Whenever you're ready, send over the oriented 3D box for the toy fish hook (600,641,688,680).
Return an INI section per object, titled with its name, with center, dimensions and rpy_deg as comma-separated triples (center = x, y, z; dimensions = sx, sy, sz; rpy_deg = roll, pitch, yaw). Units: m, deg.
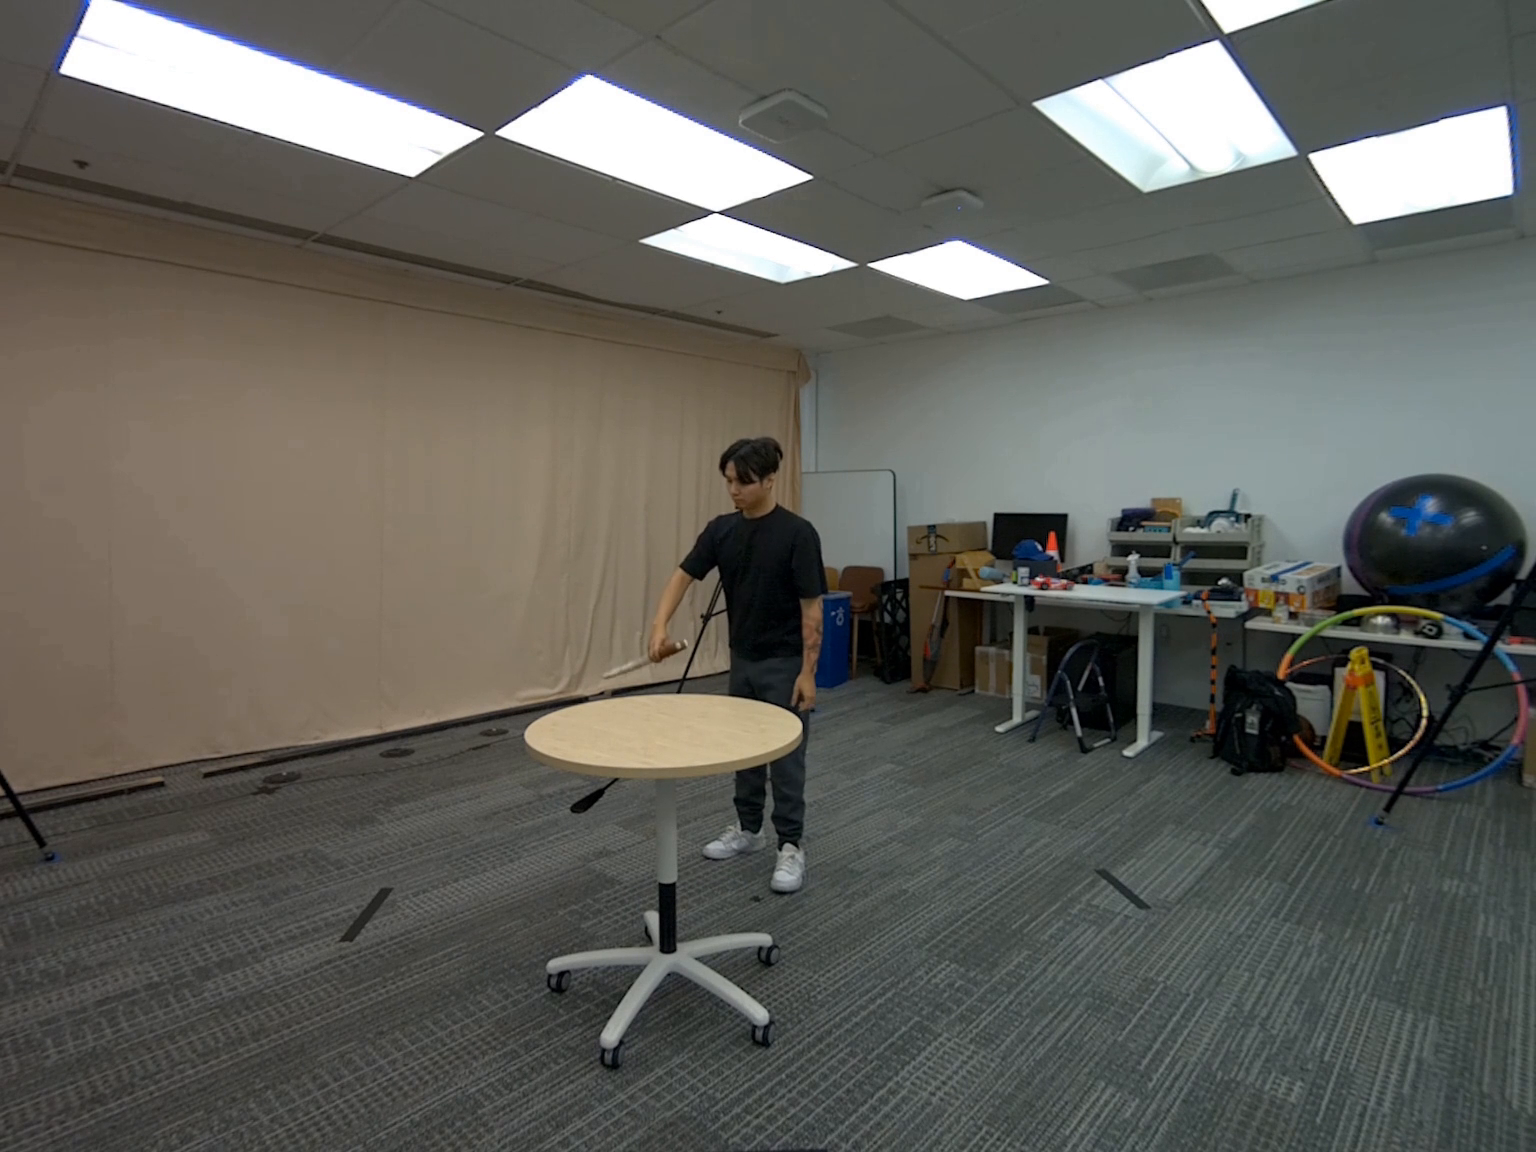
[toy fish hook]
center = -0.455, 0.314, 3.100
dimensions = 0.220, 0.048, 0.516
rpy_deg = -23, -2, -36
